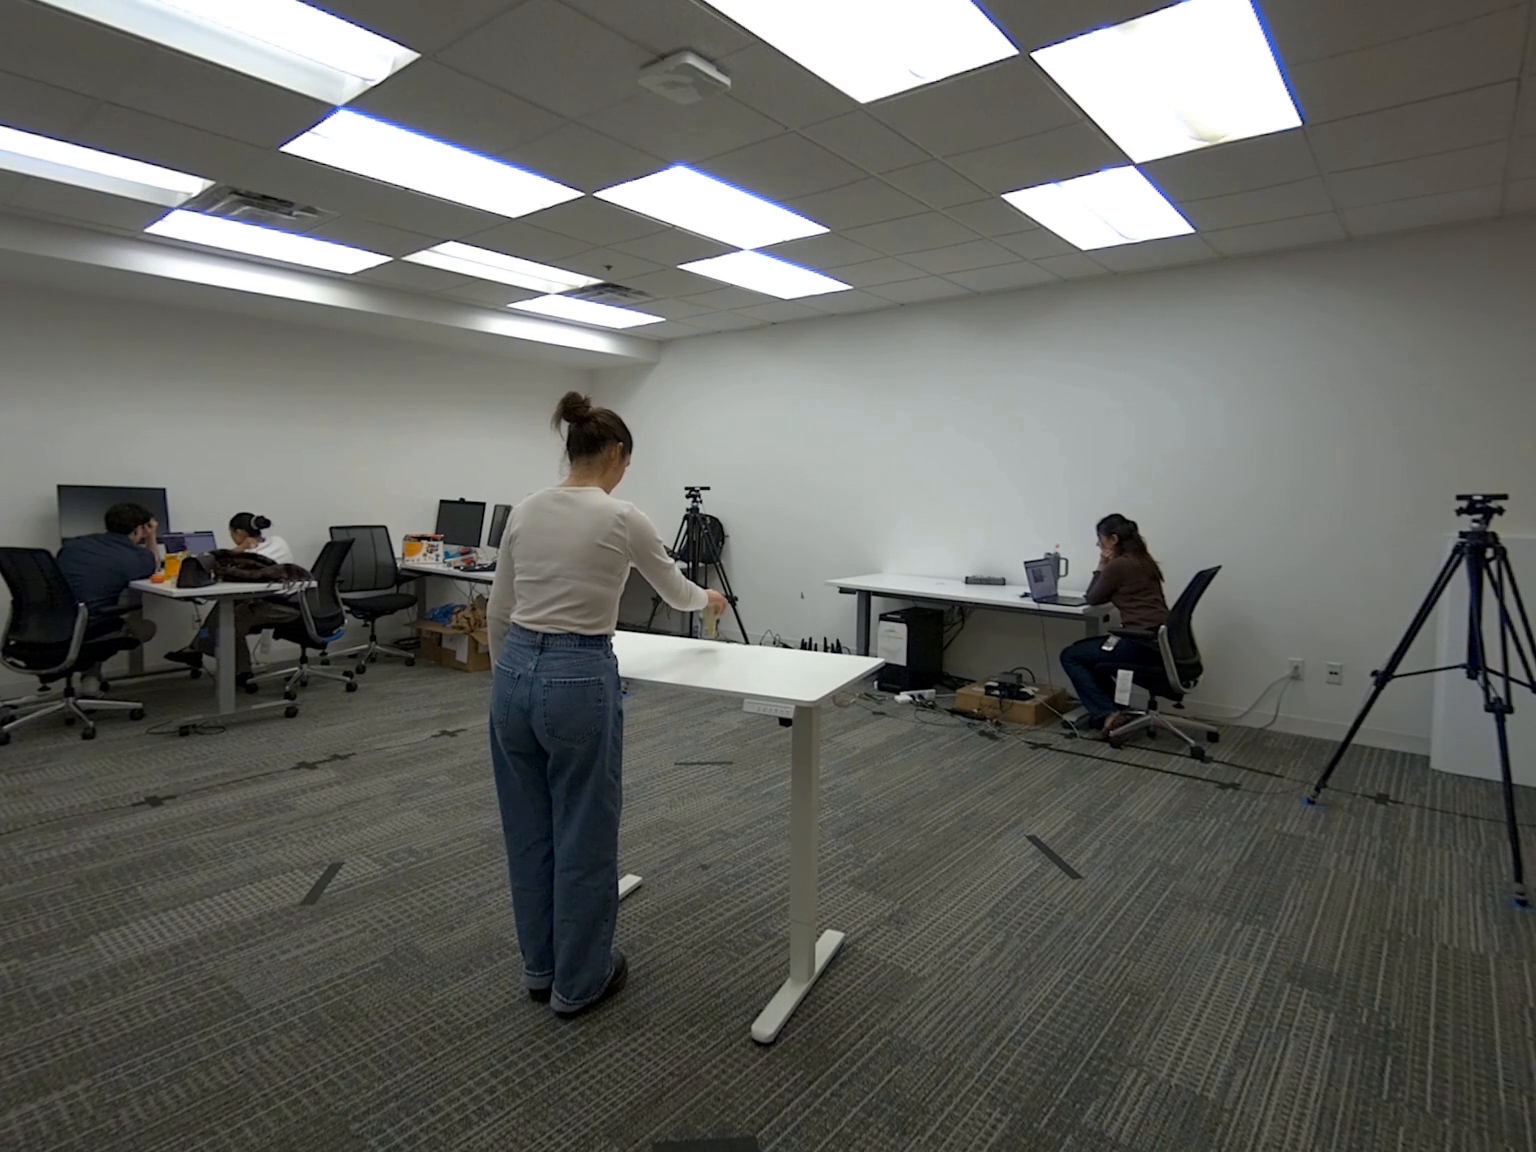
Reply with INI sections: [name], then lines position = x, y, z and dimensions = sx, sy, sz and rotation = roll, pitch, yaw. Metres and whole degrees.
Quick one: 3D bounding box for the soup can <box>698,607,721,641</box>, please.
[soup can]
position = -0.186, 0.135, 2.662
dimensions = 0.067, 0.120, 0.068
rotation = 1, 9, -2
